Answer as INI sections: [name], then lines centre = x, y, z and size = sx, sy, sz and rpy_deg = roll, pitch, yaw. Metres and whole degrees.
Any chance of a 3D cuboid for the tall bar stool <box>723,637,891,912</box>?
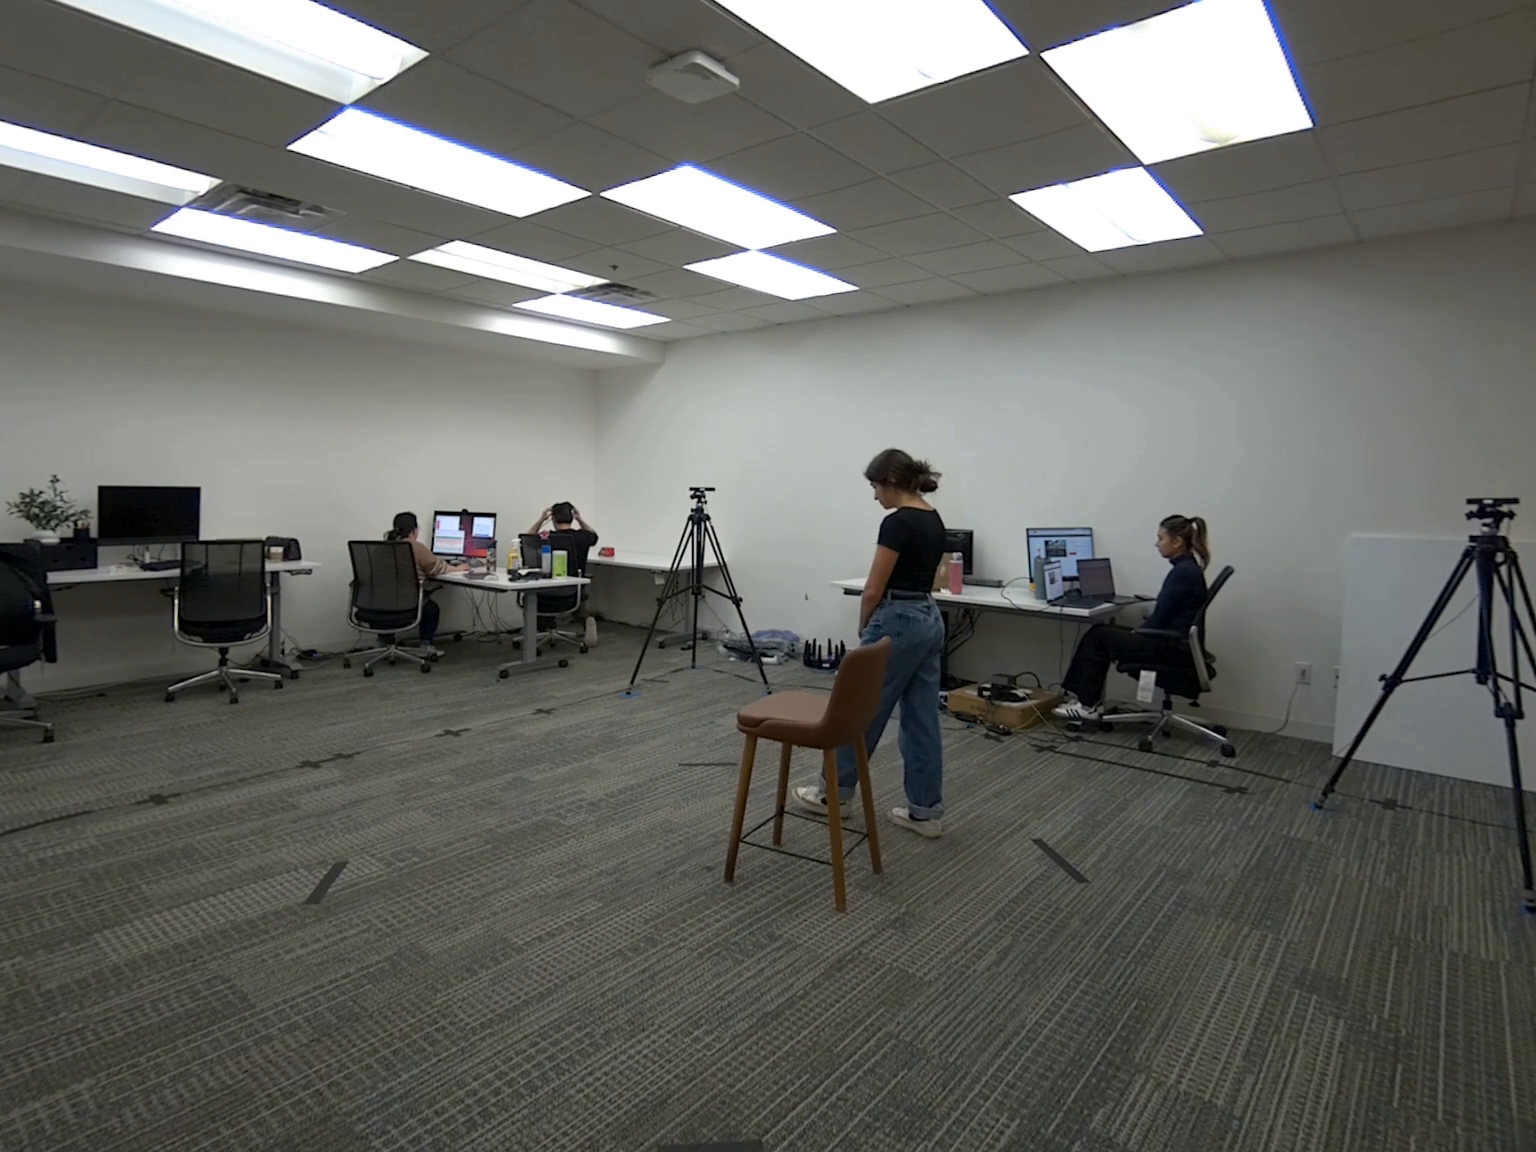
[tall bar stool]
centre = 0.143, 0.646, 3.050
size = 0.482, 0.886, 0.445
rpy_deg = 5, 5, 30
